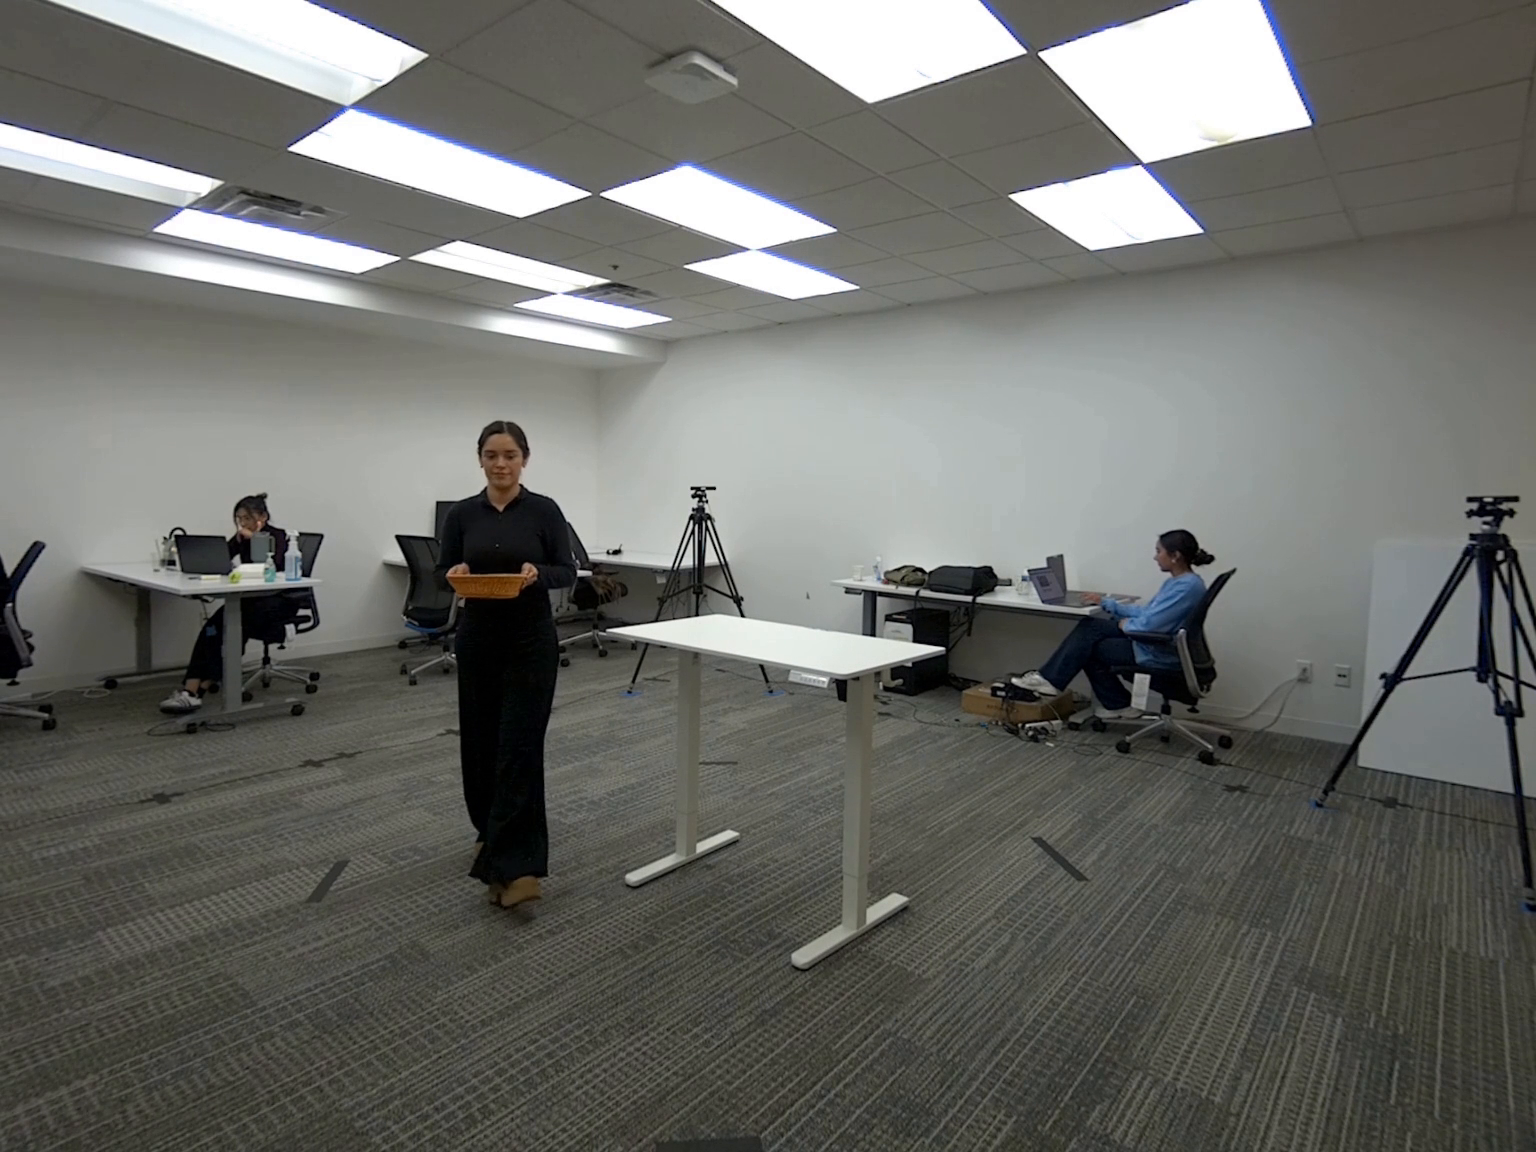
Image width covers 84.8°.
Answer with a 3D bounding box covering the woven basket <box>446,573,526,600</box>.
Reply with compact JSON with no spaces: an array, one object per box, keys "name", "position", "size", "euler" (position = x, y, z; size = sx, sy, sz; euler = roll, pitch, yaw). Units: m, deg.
[{"name":"woven basket","position":[-0.930,0.021,2.751],"size":[0.253,0.073,0.349],"euler":[2,2,3]}]
